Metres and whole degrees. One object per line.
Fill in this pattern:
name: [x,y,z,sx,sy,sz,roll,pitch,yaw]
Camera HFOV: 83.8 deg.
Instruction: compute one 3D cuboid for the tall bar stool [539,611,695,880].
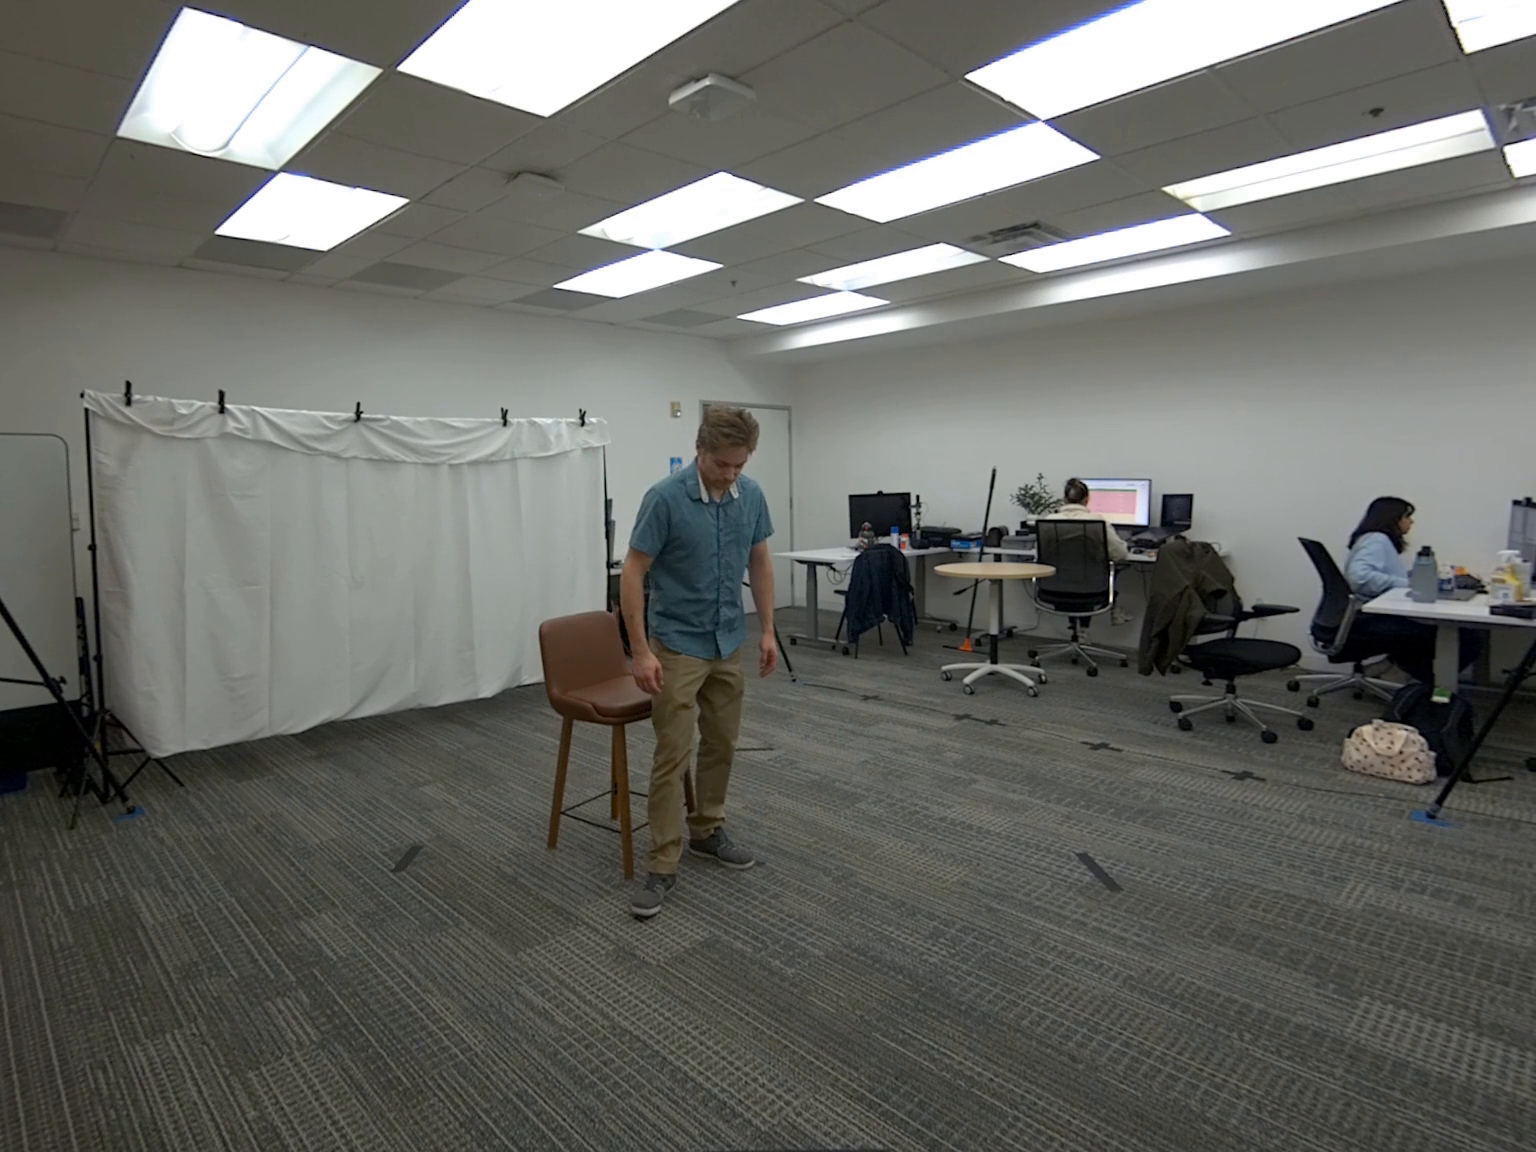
tall bar stool: [-0.567,0.601,3.277,0.480,0.888,0.445,-1,3,36]
